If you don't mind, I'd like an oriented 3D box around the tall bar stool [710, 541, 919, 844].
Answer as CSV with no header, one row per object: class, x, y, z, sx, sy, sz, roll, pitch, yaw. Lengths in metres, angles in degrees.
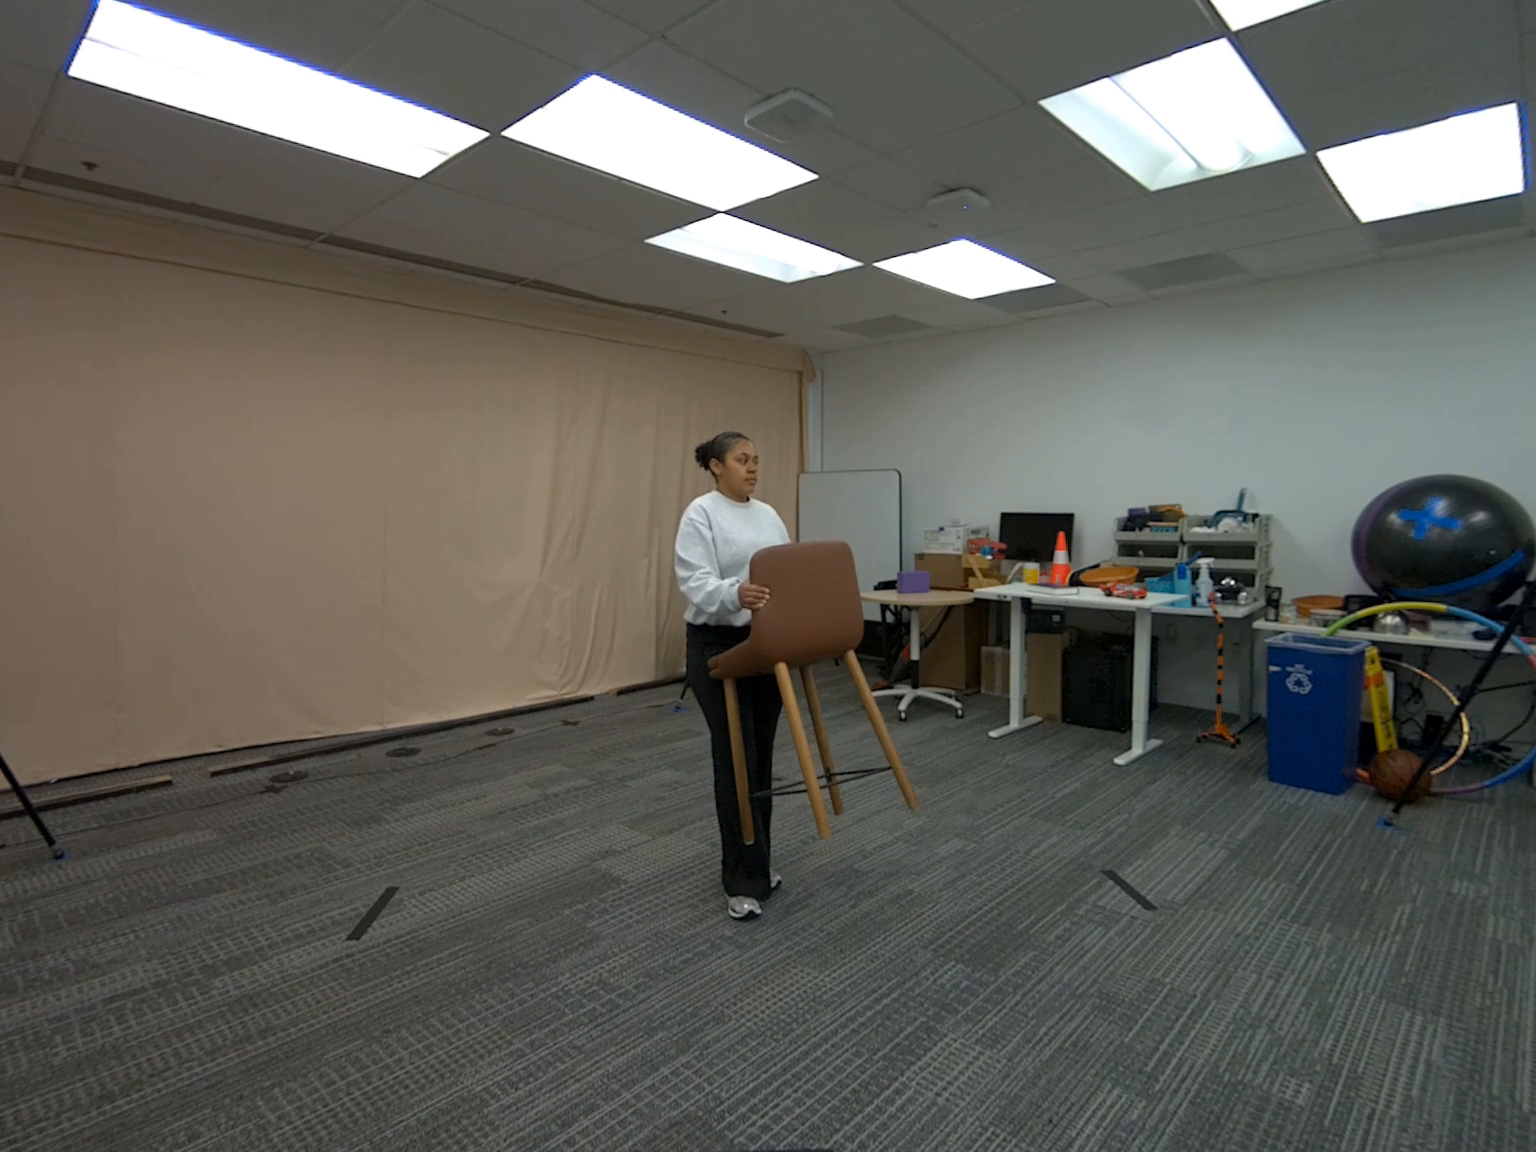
tall bar stool,0.114,0.377,2.768,0.444,0.898,0.476,-6,-13,-32
